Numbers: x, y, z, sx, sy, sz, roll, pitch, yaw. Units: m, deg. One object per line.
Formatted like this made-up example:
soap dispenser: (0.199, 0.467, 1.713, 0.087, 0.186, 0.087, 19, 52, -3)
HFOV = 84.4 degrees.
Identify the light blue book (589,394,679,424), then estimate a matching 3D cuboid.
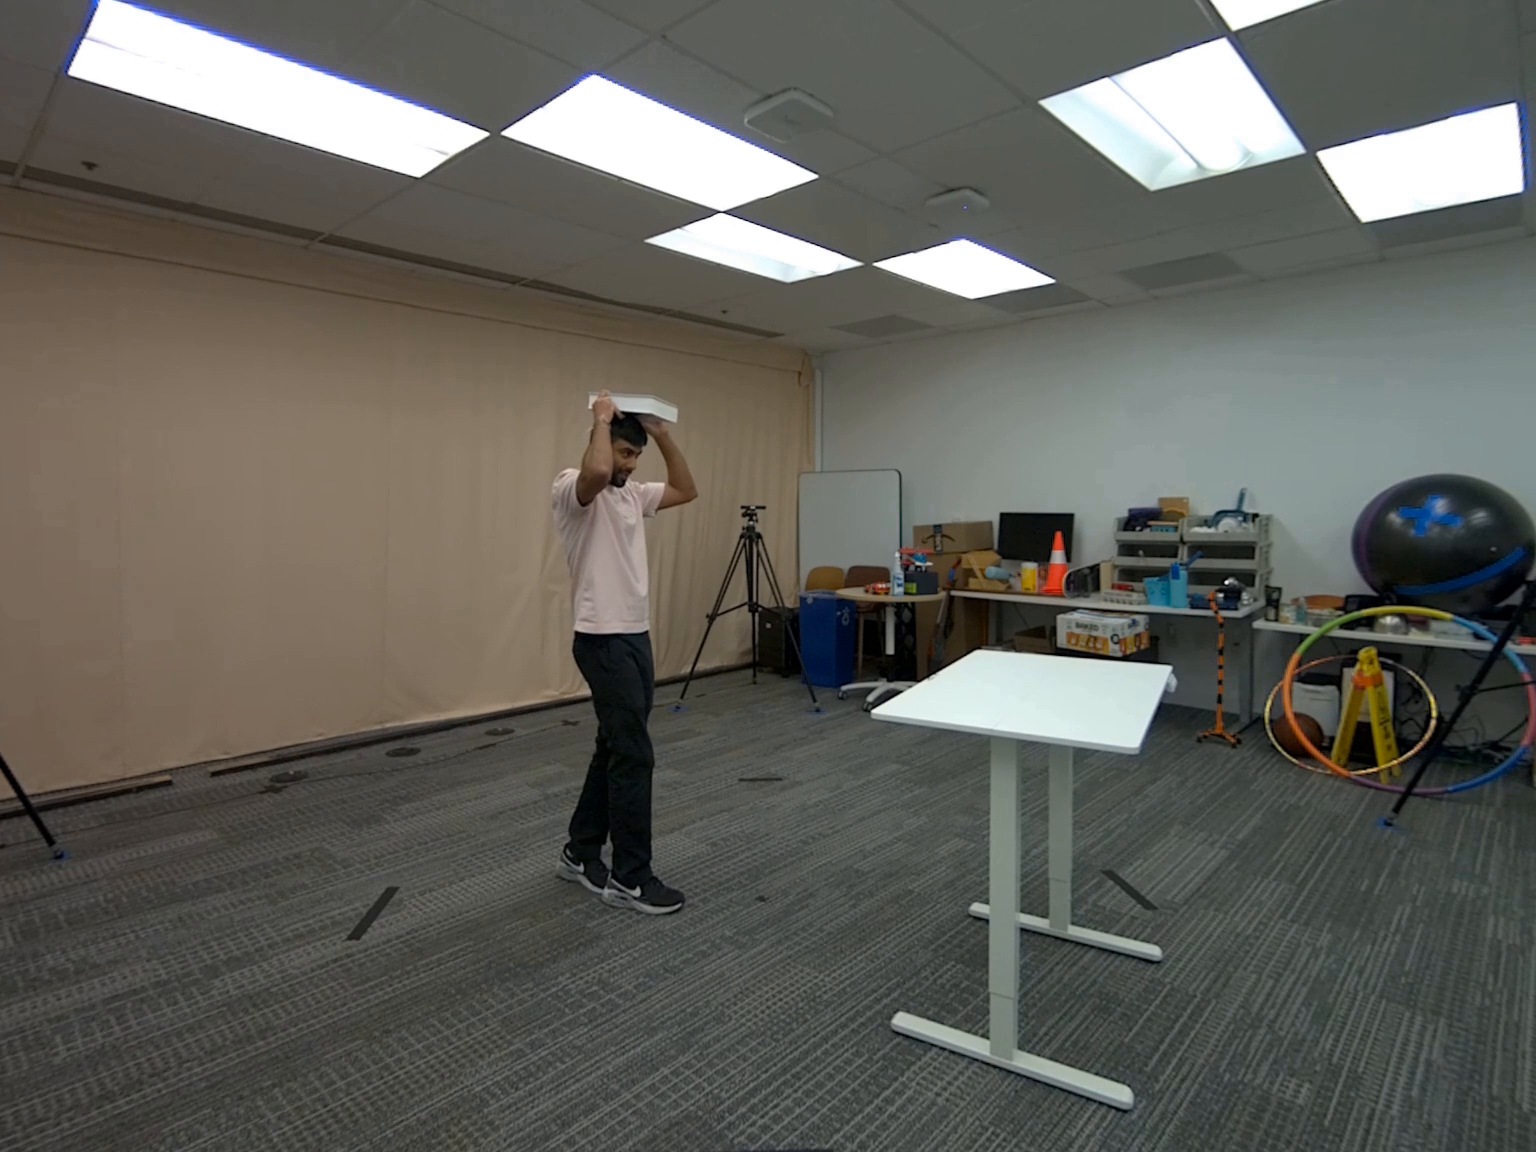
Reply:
light blue book: (-0.479, -0.591, 2.974, 0.268, 0.059, 0.186, 8, 2, 24)
